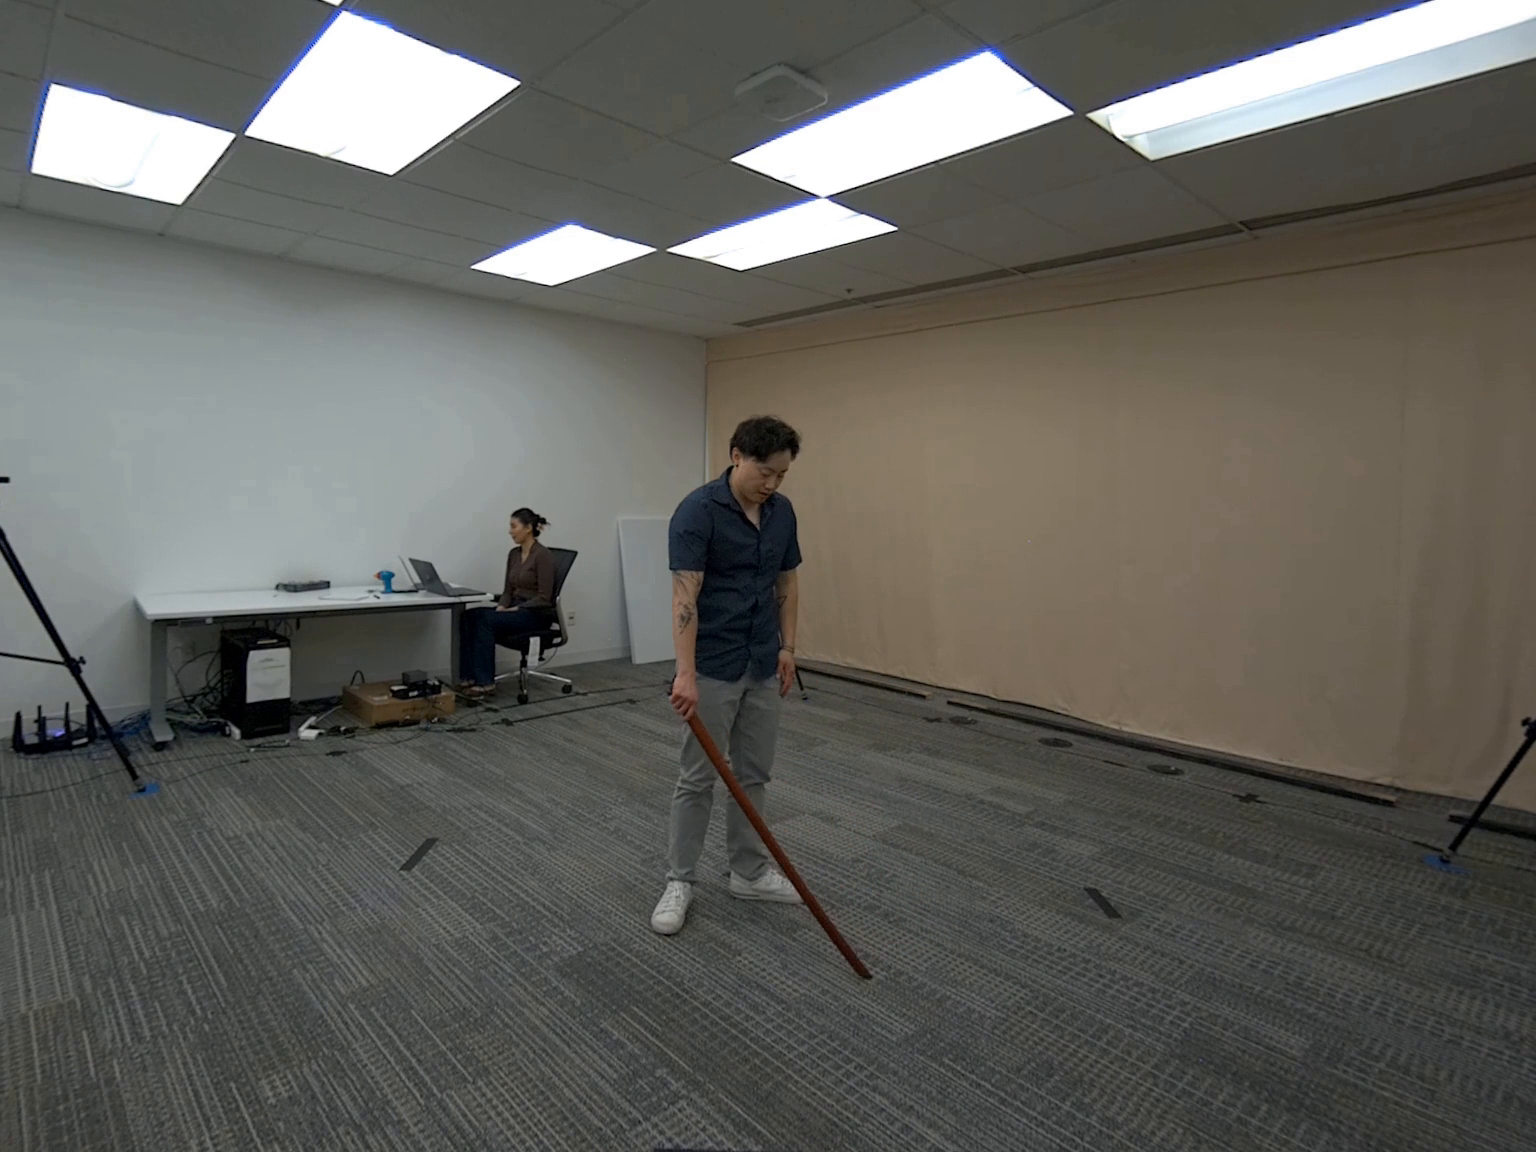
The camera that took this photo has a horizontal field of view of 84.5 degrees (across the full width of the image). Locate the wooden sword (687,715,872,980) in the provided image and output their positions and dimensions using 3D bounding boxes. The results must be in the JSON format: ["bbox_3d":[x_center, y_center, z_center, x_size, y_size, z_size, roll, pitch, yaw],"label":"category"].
[{"bbox_3d":[-0.007,0.767,2.505,0.051,1.031,0.024,-33,-7,-32],"label":"wooden sword"}]
